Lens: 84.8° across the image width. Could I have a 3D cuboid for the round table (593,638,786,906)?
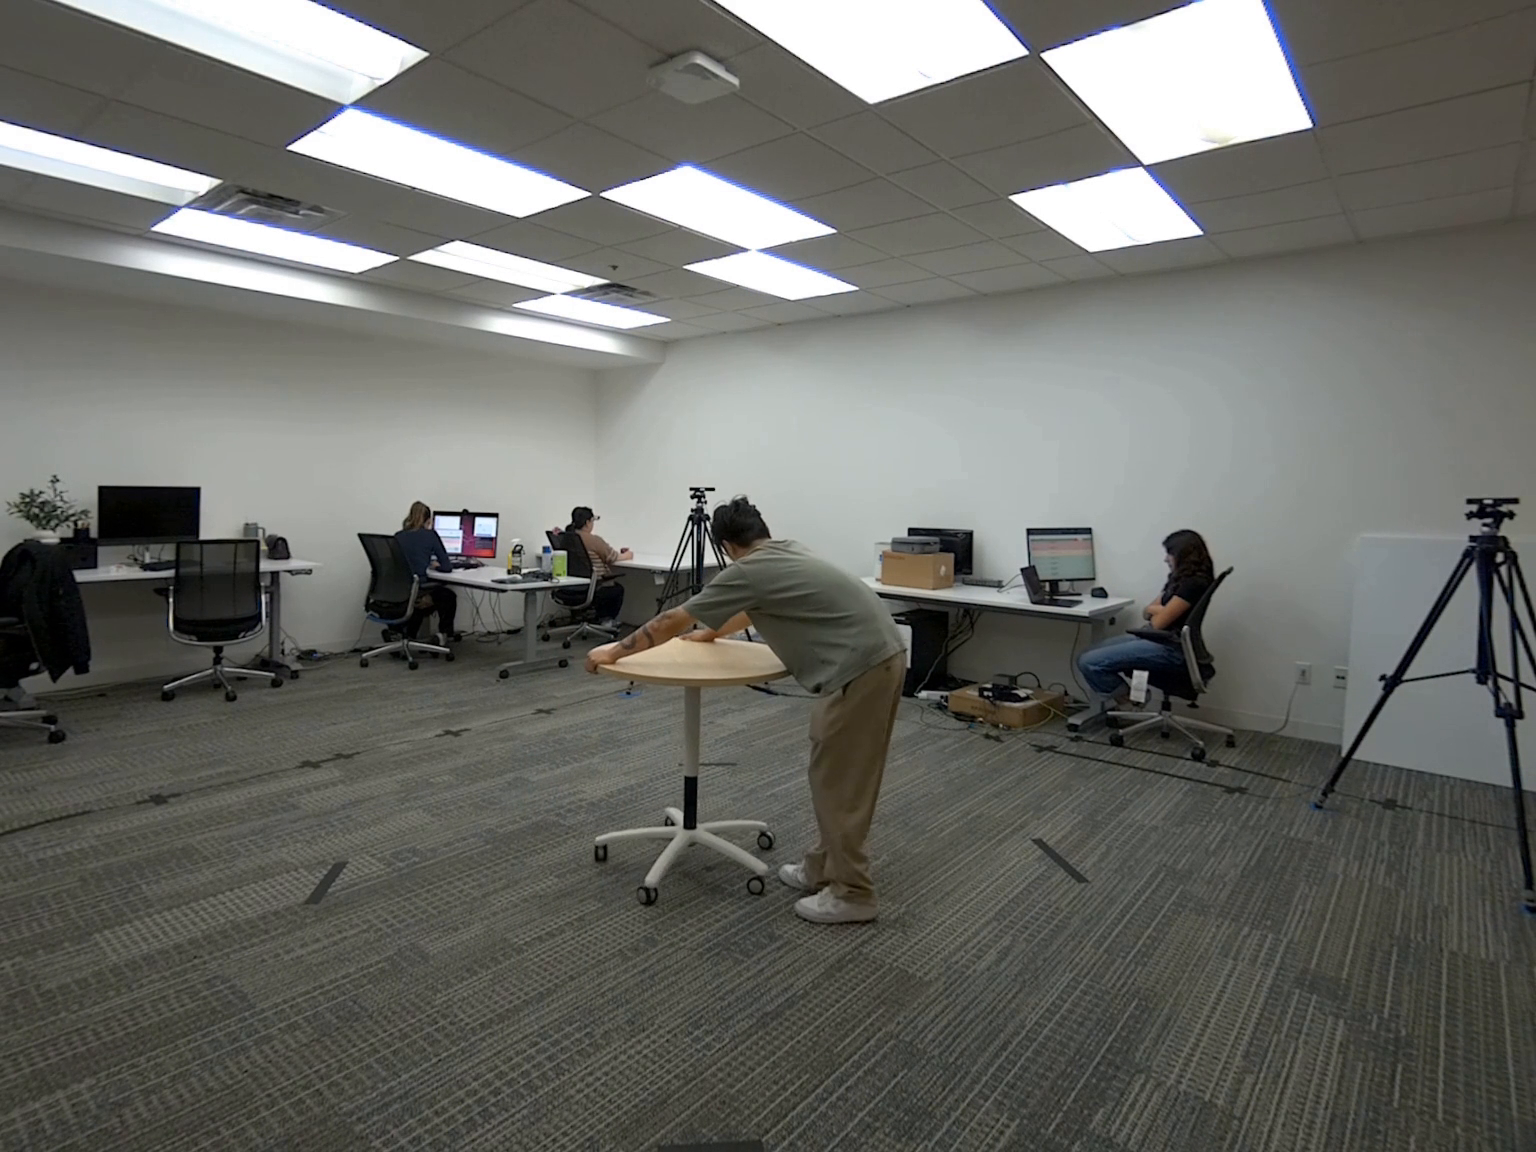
[{"bbox_3d":[-0.304,0.674,3.108,0.784,0.784,0.789,1,4,-2],"label":"round table"}]
